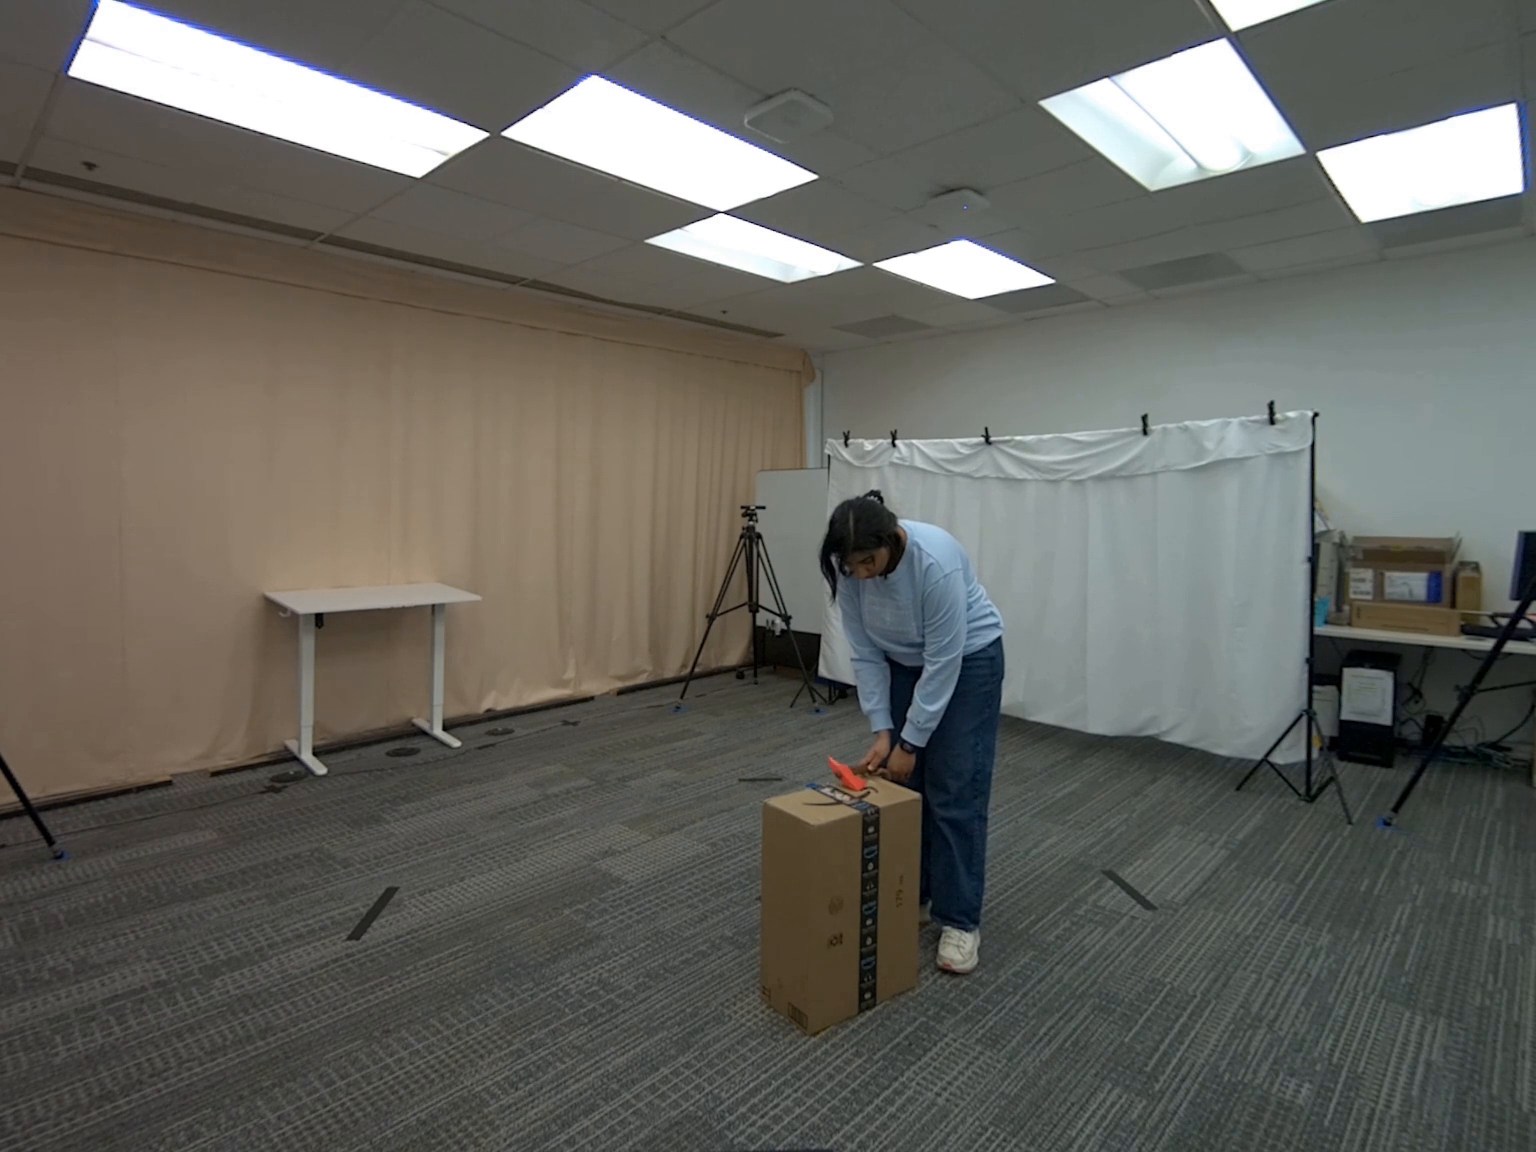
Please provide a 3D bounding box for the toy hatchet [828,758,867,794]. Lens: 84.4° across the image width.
[{"bbox_3d":[0.328,0.618,2.501,0.263,0.029,0.135,14,22,-23],"label":"toy hatchet"}]
